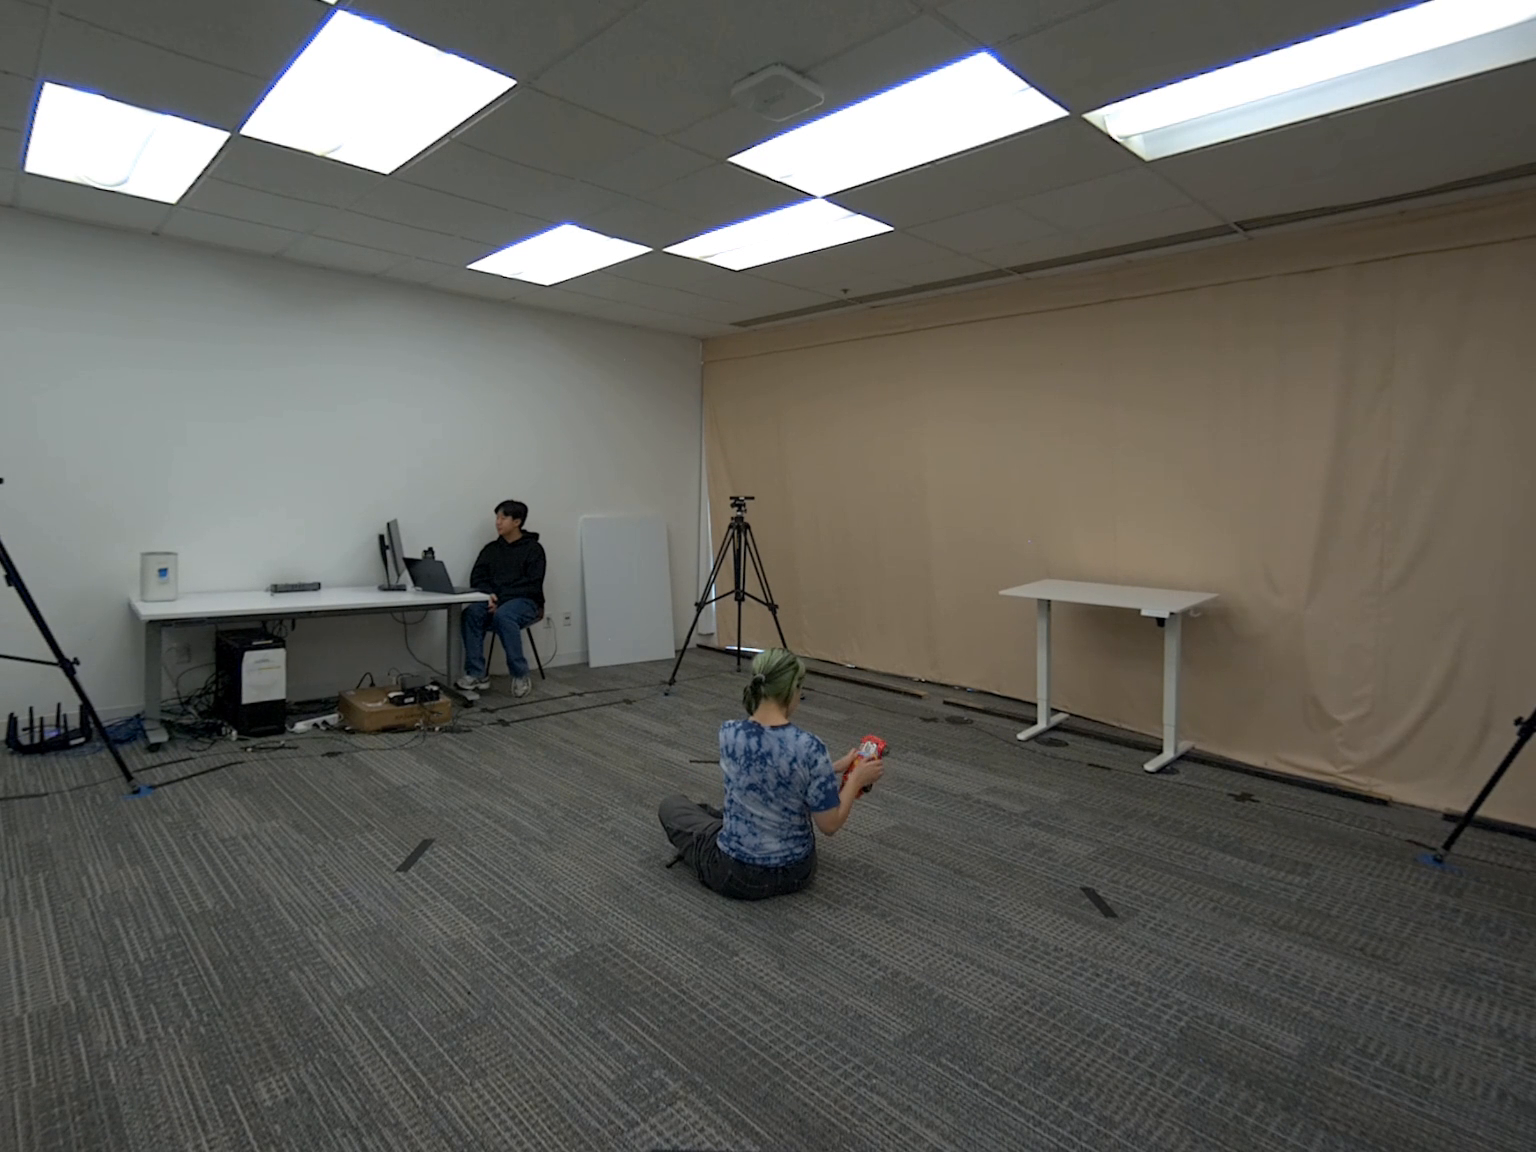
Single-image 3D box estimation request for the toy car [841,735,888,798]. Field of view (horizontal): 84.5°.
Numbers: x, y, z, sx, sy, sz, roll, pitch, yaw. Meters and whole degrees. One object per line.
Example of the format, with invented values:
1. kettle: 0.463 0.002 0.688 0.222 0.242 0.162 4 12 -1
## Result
1. toy car: 0.342 0.724 3.153 0.134 0.255 0.081 15 -31 53
